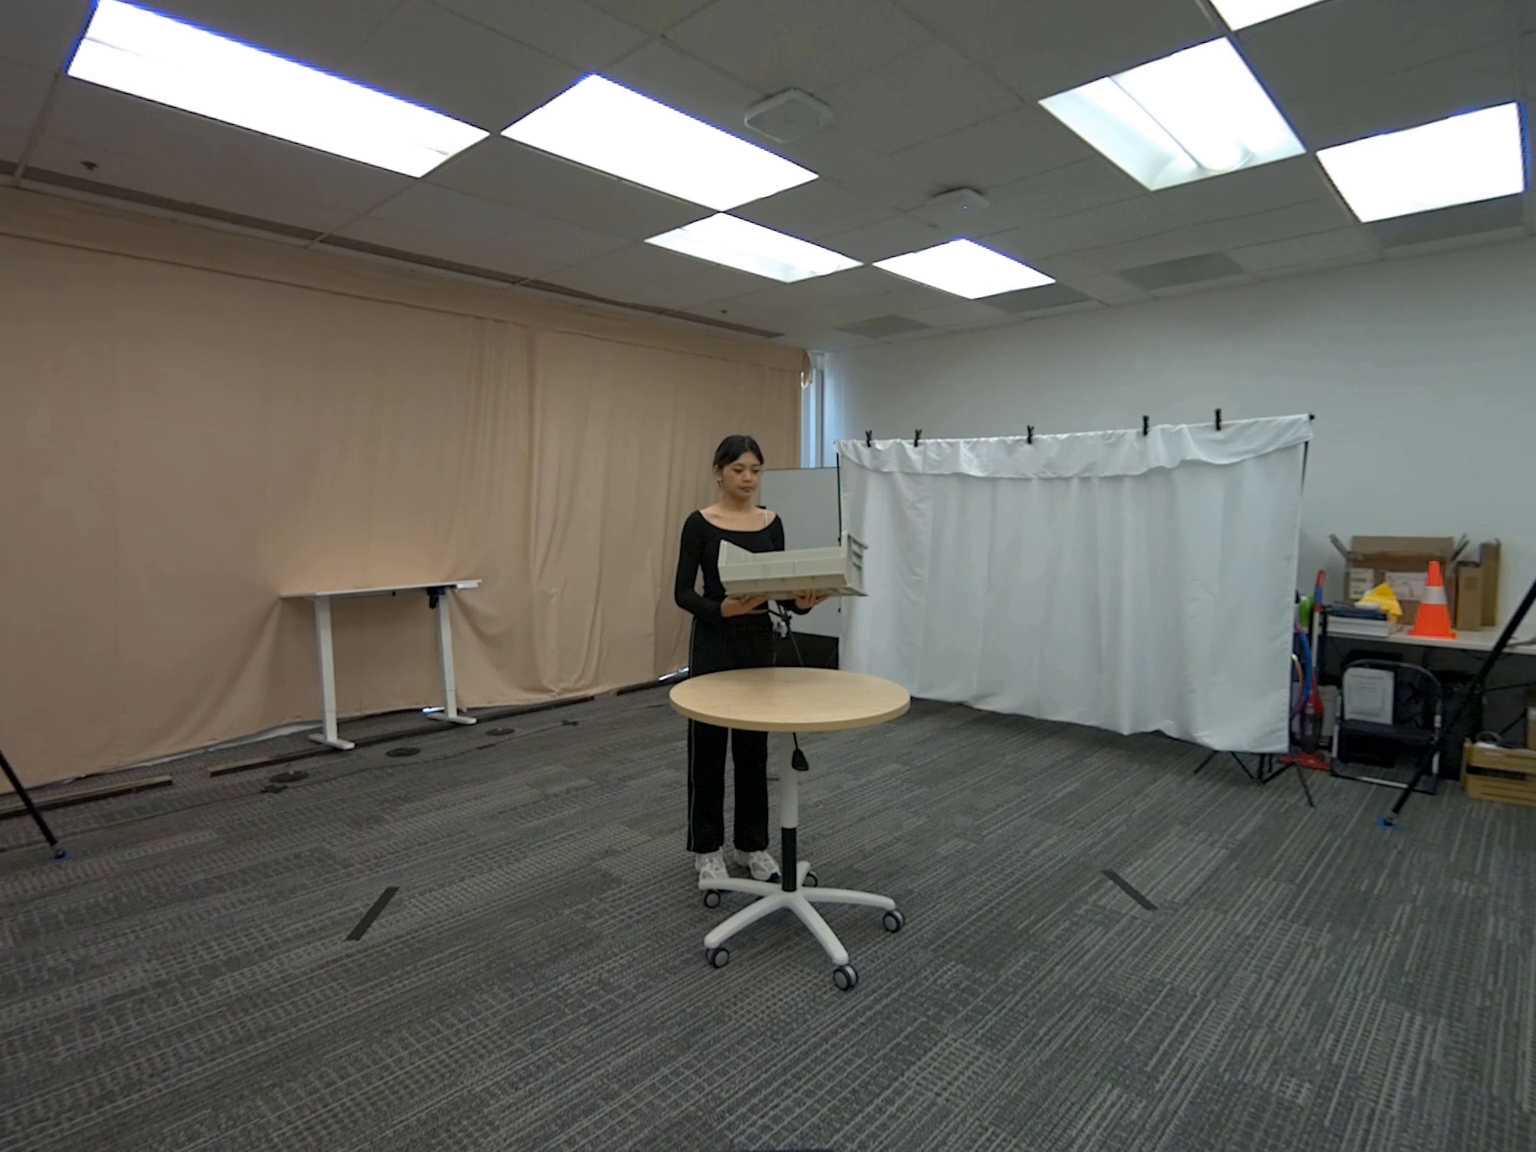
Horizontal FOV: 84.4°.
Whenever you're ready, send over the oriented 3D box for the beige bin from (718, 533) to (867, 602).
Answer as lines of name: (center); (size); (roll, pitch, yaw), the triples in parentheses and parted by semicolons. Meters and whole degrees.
beige bin: (0.103, -0.020, 2.800); (0.431, 0.190, 0.367); (-5, -10, 20)
